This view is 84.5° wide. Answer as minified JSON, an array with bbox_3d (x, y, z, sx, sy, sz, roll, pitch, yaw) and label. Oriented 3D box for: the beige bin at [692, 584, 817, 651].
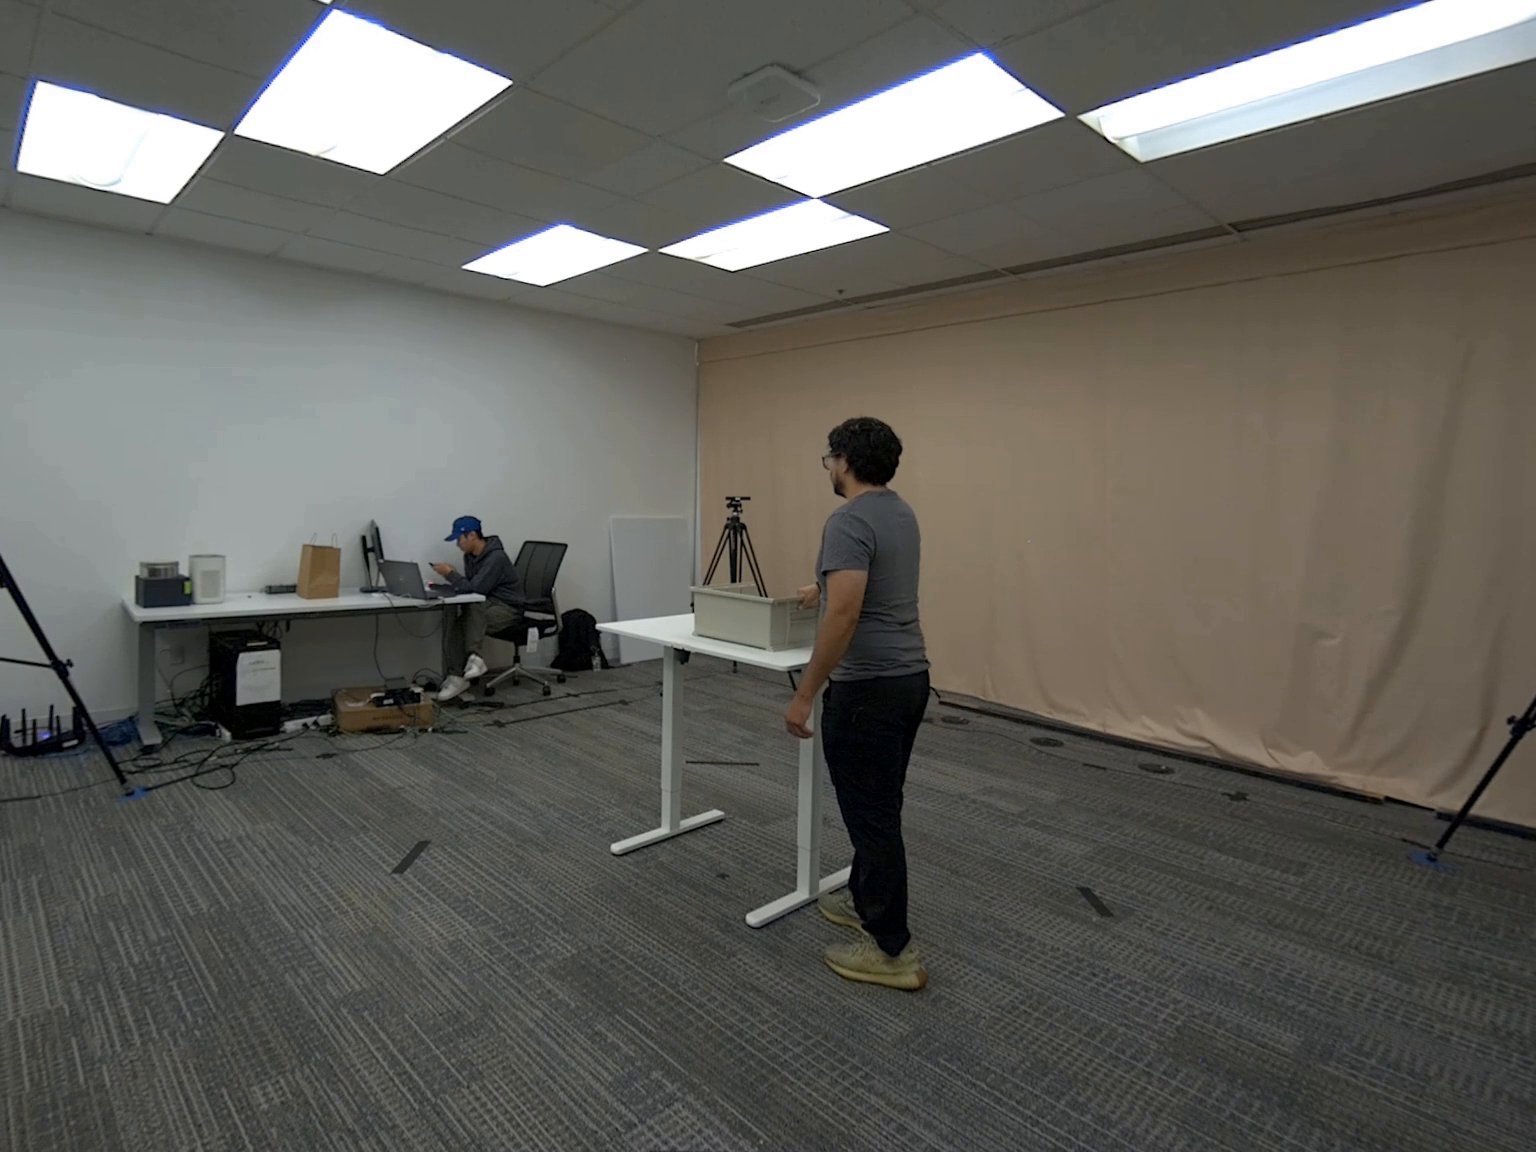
[{"bbox_3d":[-0.016,0.138,3.078,0.433,0.188,0.369,7,9,44],"label":"beige bin"}]
